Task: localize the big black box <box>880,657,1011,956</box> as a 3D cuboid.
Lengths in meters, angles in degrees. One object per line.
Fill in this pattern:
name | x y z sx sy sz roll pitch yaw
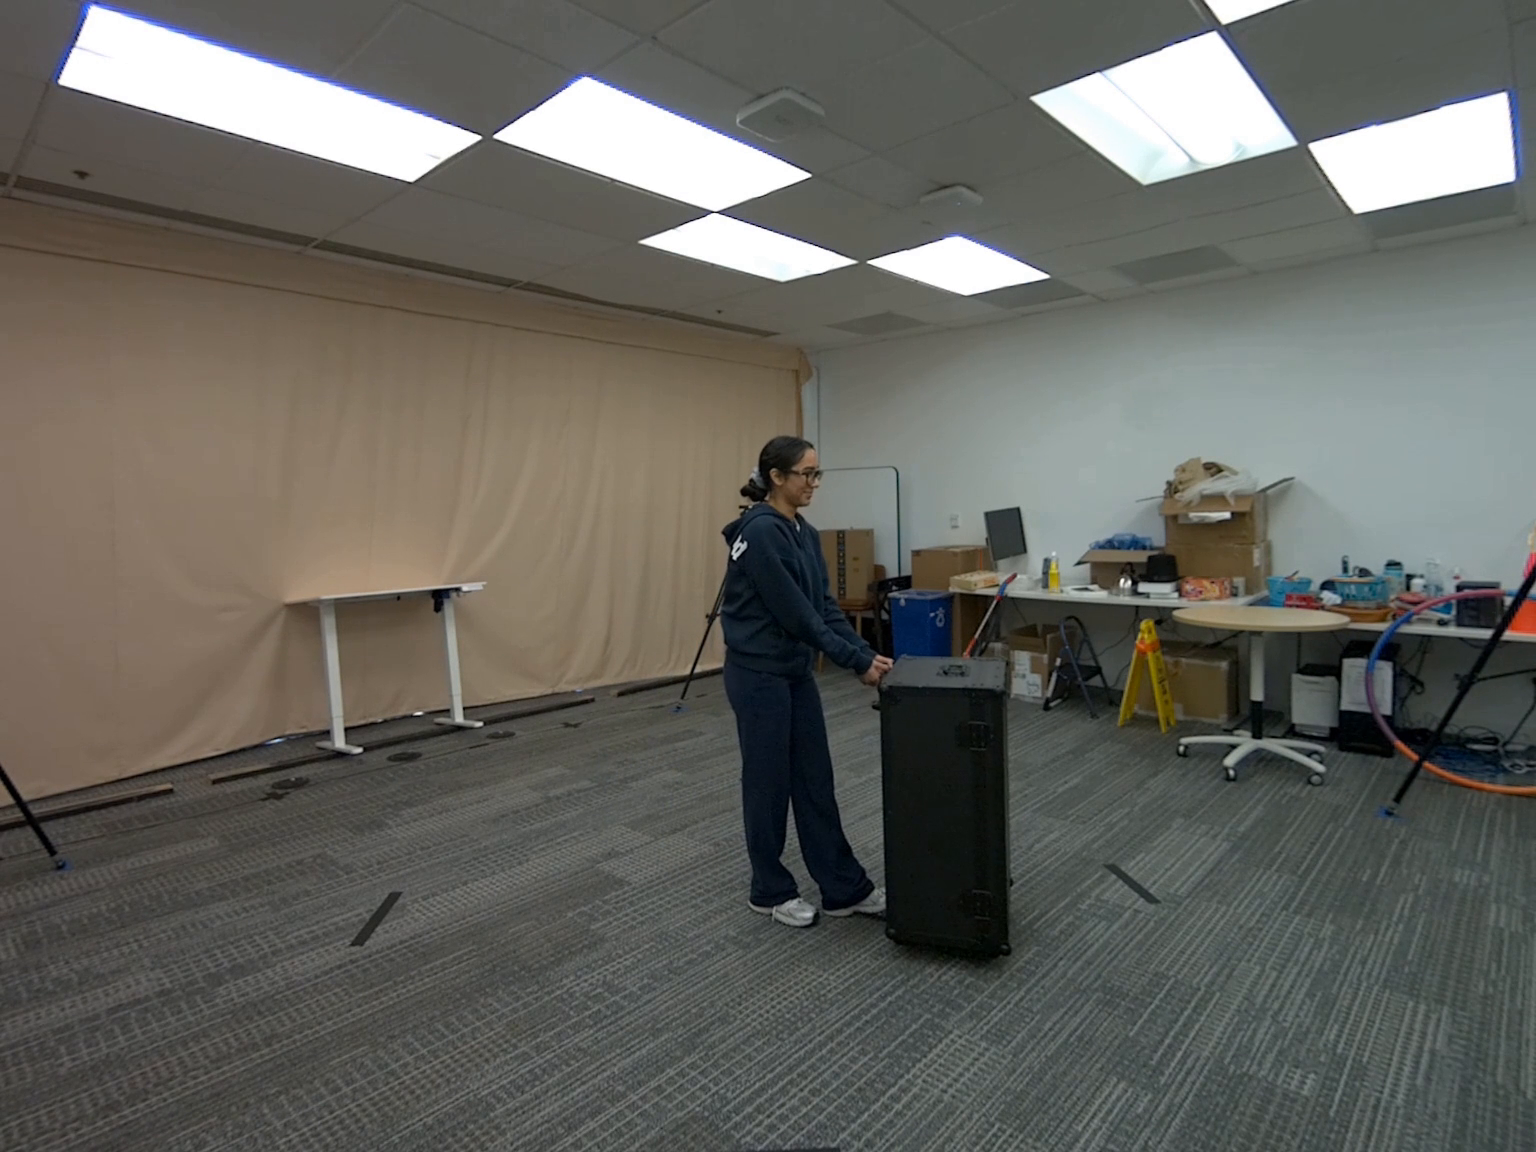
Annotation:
big black box | 0.575 0.730 2.696 0.404 0.859 0.513 -3 4 17
